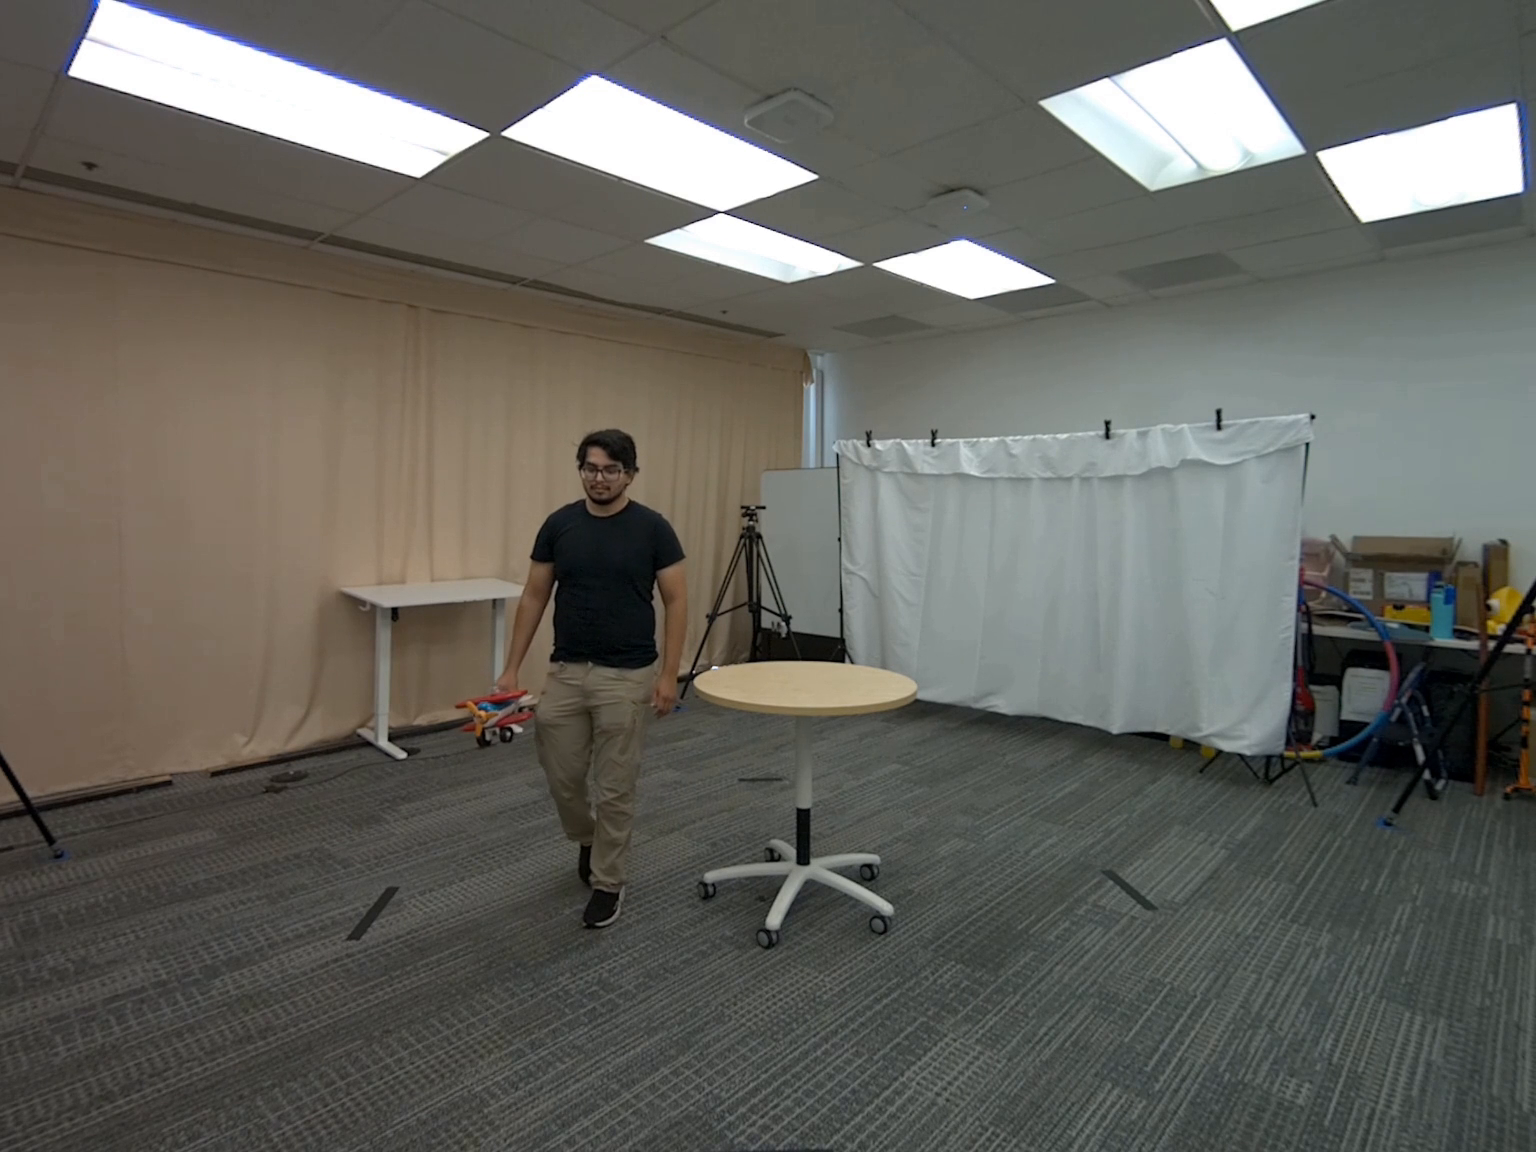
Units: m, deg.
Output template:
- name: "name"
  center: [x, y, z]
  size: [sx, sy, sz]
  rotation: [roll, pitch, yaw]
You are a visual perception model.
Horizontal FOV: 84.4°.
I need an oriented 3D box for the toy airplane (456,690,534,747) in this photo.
- name: "toy airplane"
  center: [-0.902, 0.455, 2.821]
  size: [0.248, 0.154, 0.265]
  rotation: [-20, 17, -13]
